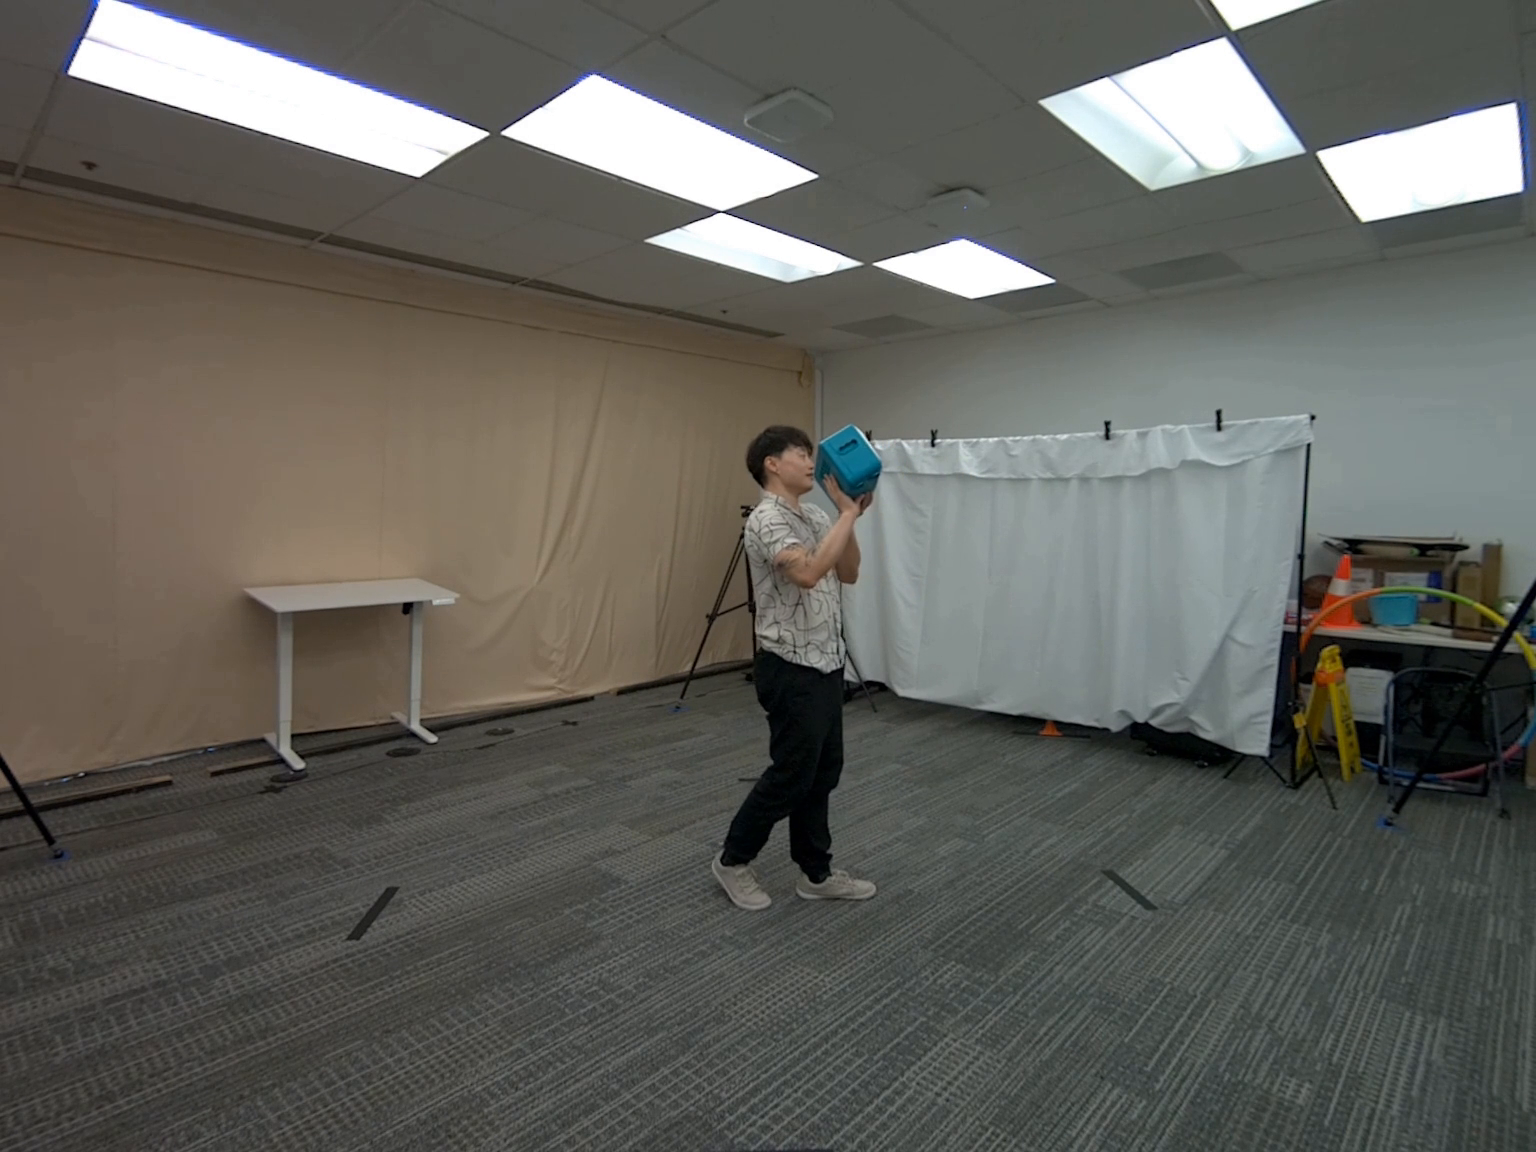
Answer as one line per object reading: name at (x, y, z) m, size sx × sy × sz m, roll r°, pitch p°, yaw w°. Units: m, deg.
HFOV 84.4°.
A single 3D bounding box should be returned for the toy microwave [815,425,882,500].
toy microwave at (0.270, -0.342, 2.713) m, size 0.151 × 0.187 × 0.283 m, roll -31°, pitch -14°, yaw -8°
